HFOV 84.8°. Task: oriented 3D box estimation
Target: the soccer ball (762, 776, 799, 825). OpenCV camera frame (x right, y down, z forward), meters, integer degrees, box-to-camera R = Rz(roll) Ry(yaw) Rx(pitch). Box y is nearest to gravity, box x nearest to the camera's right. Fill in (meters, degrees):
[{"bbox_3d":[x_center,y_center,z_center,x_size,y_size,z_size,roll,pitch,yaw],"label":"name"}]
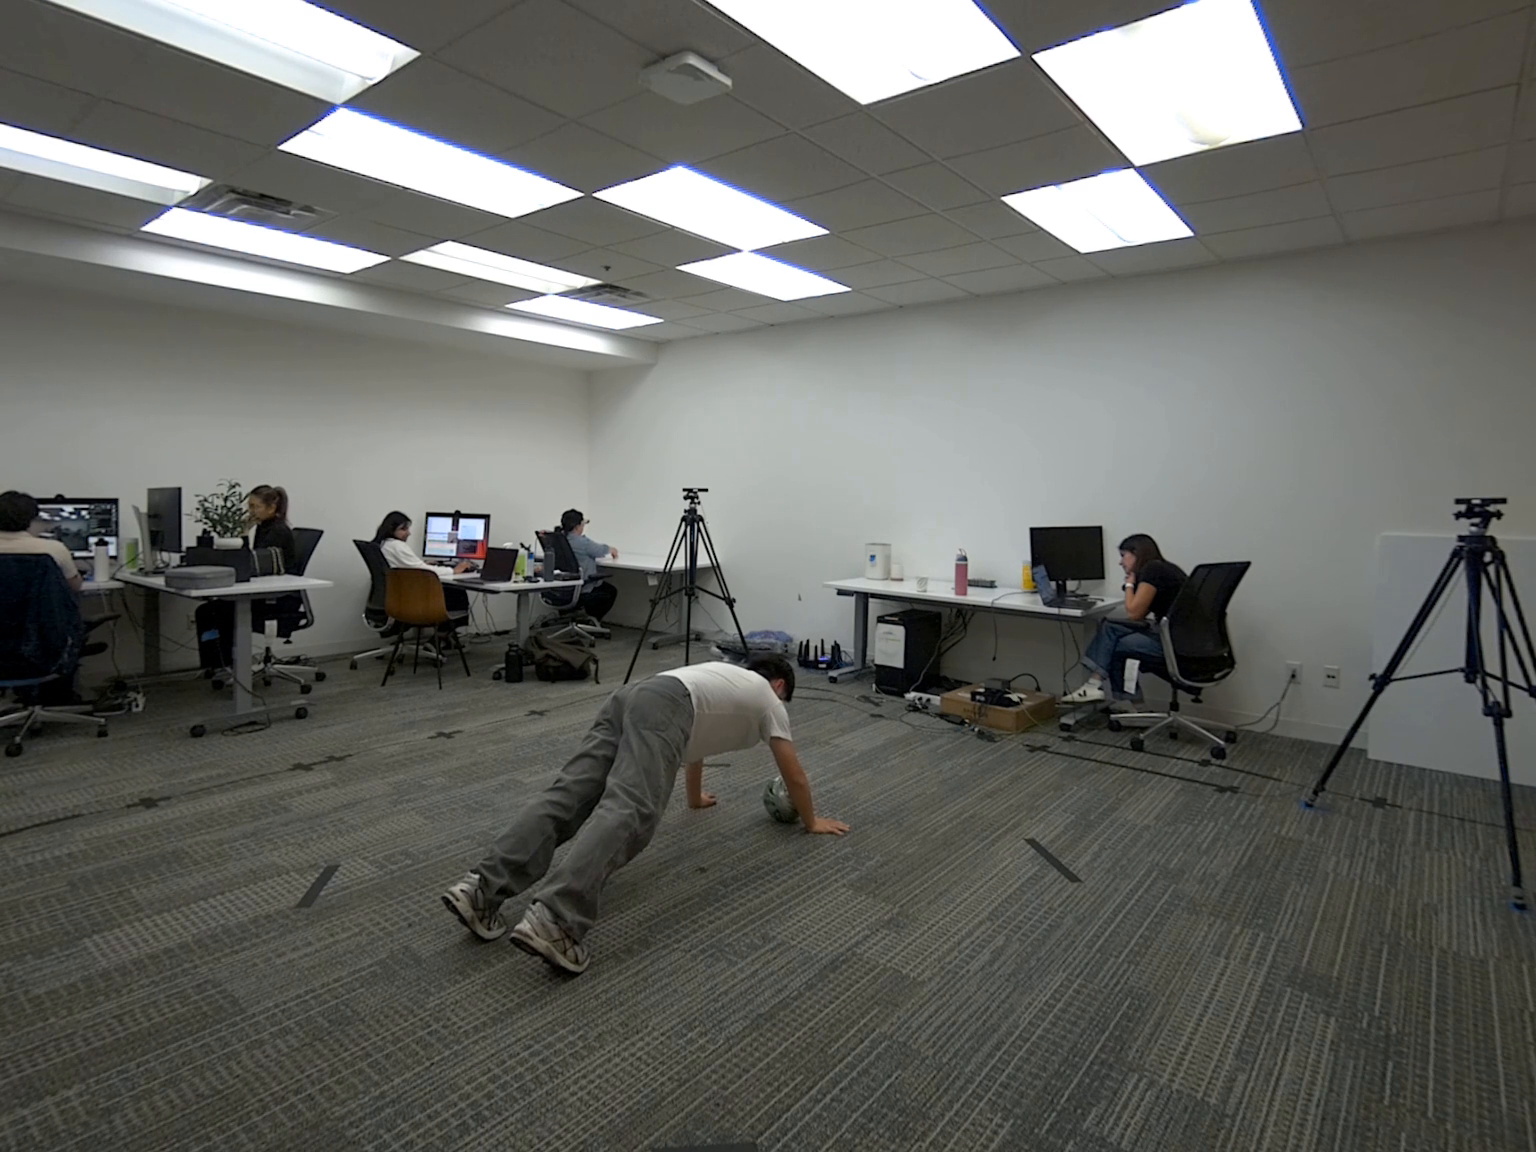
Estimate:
[{"bbox_3d":[0.080,0.930,3.591,0.187,0.187,0.188,1,4,-2],"label":"soccer ball"}]
